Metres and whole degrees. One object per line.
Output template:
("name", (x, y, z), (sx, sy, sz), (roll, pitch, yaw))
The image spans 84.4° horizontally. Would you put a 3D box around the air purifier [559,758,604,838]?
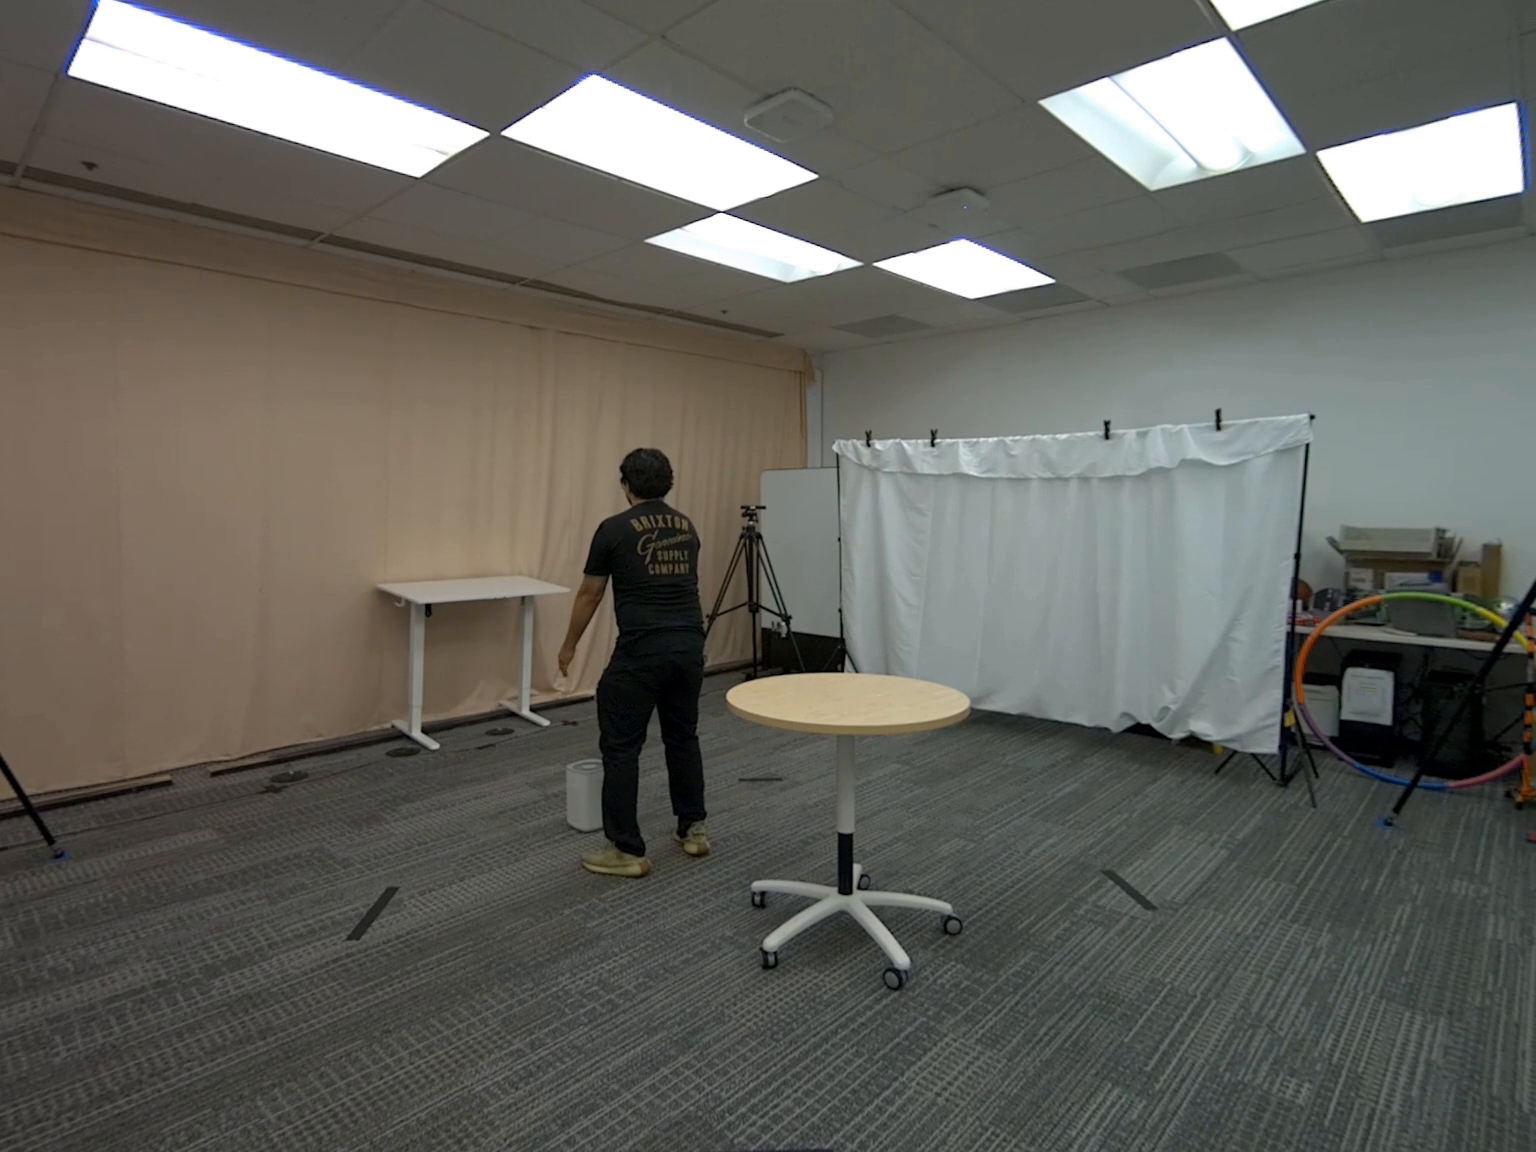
("air purifier", (-0.785, 0.957, 3.678), (0.177, 0.265, 0.166), (2, 4, 43))
